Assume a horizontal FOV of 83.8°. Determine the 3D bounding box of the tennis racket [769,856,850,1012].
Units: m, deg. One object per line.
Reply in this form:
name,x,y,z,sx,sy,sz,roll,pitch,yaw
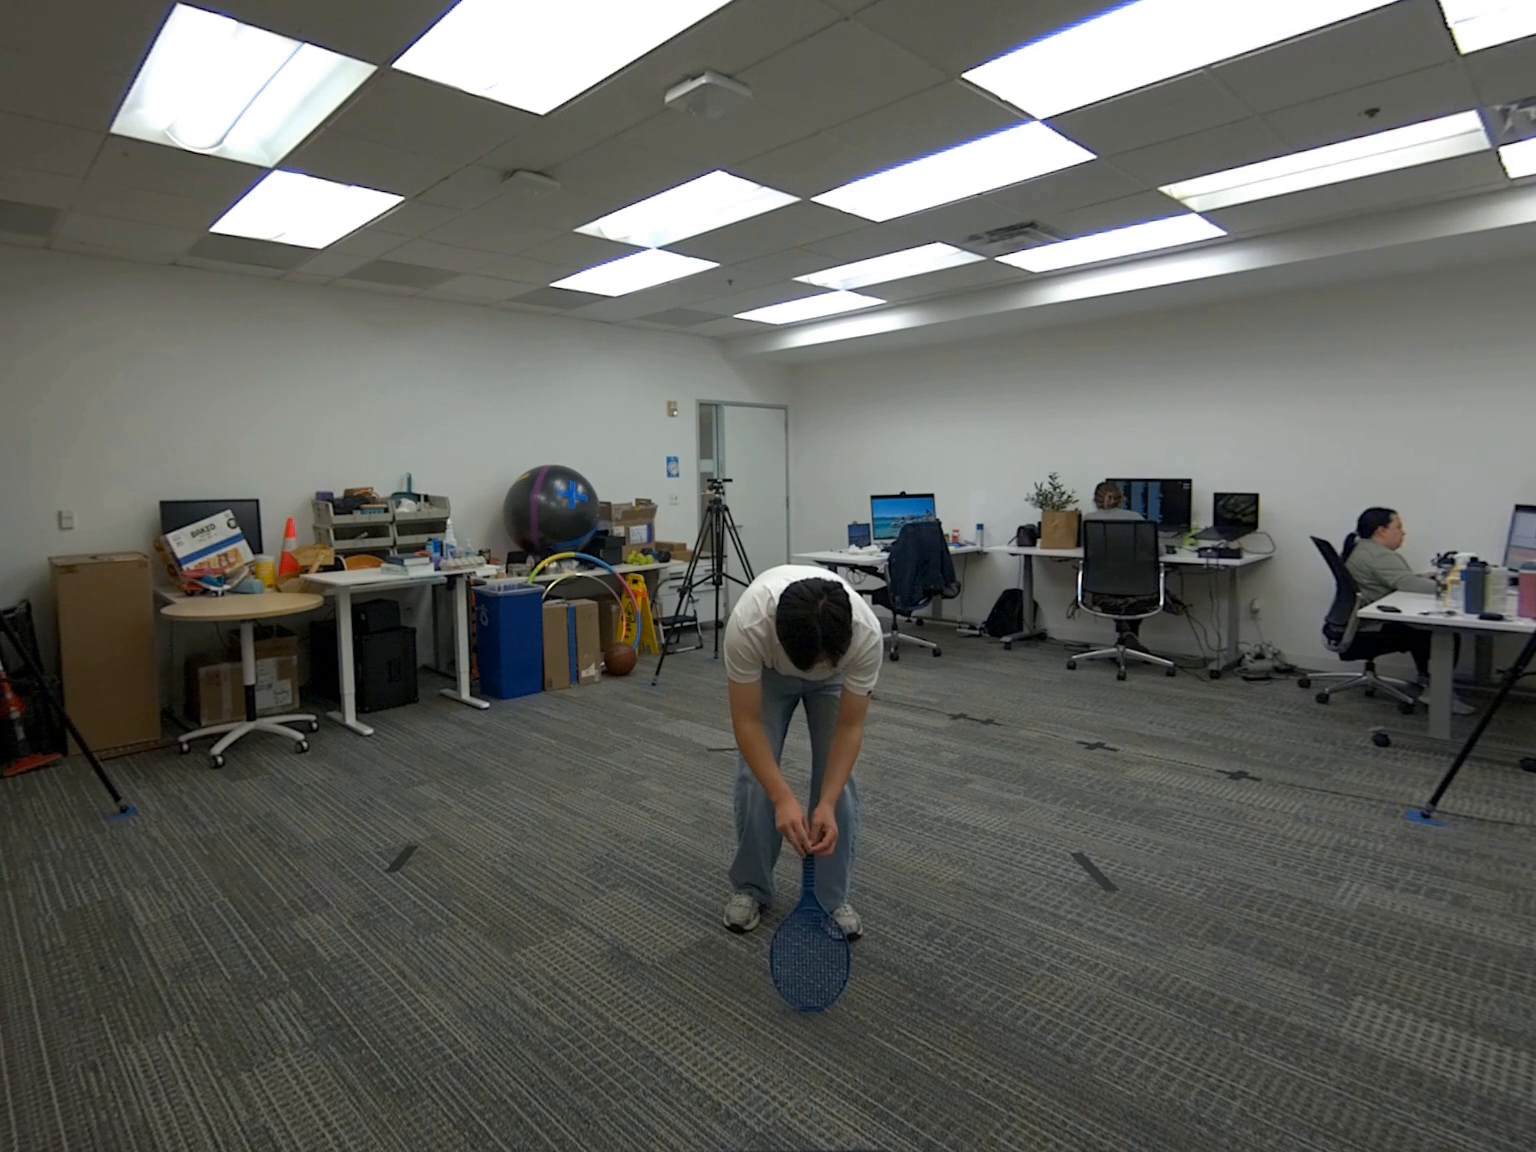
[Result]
tennis racket,0.106,0.932,2.254,0.213,0.433,0.032,-5,-1,-3
